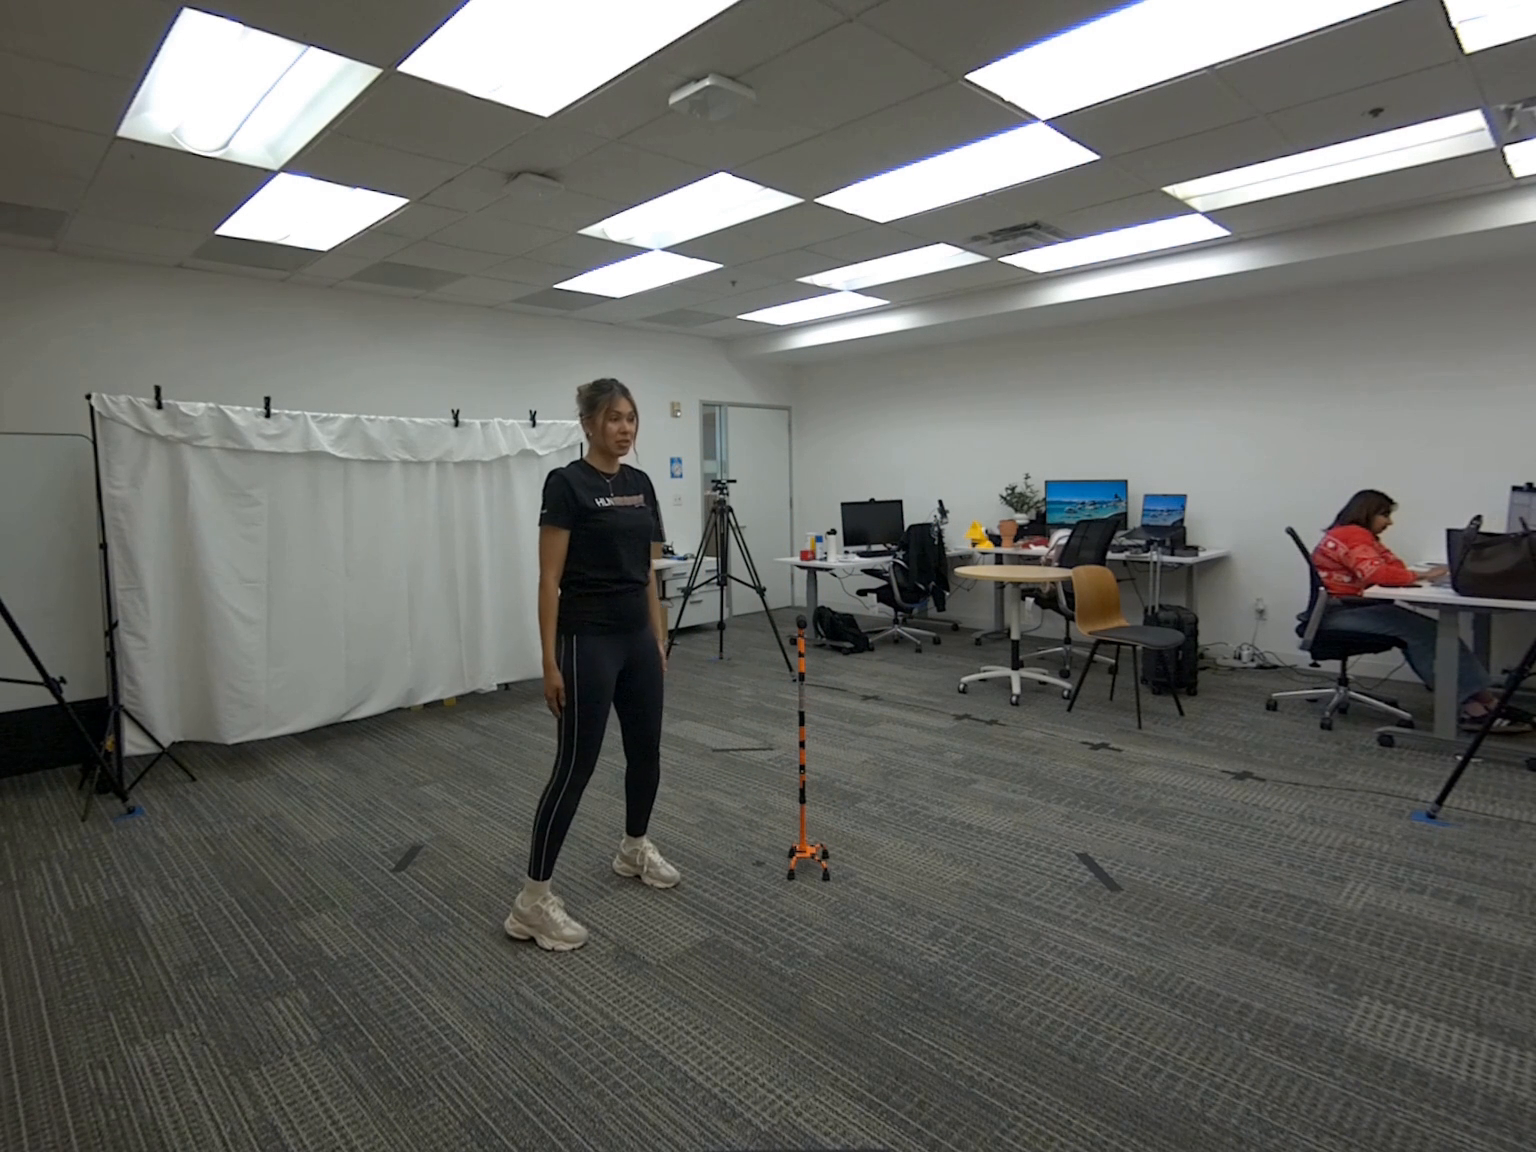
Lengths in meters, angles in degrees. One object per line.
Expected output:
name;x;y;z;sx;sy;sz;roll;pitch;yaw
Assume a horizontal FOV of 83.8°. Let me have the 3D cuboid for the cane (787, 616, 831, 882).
cane;0.140;0.599;3.041;0.152;0.905;0.206;-1;3;3
